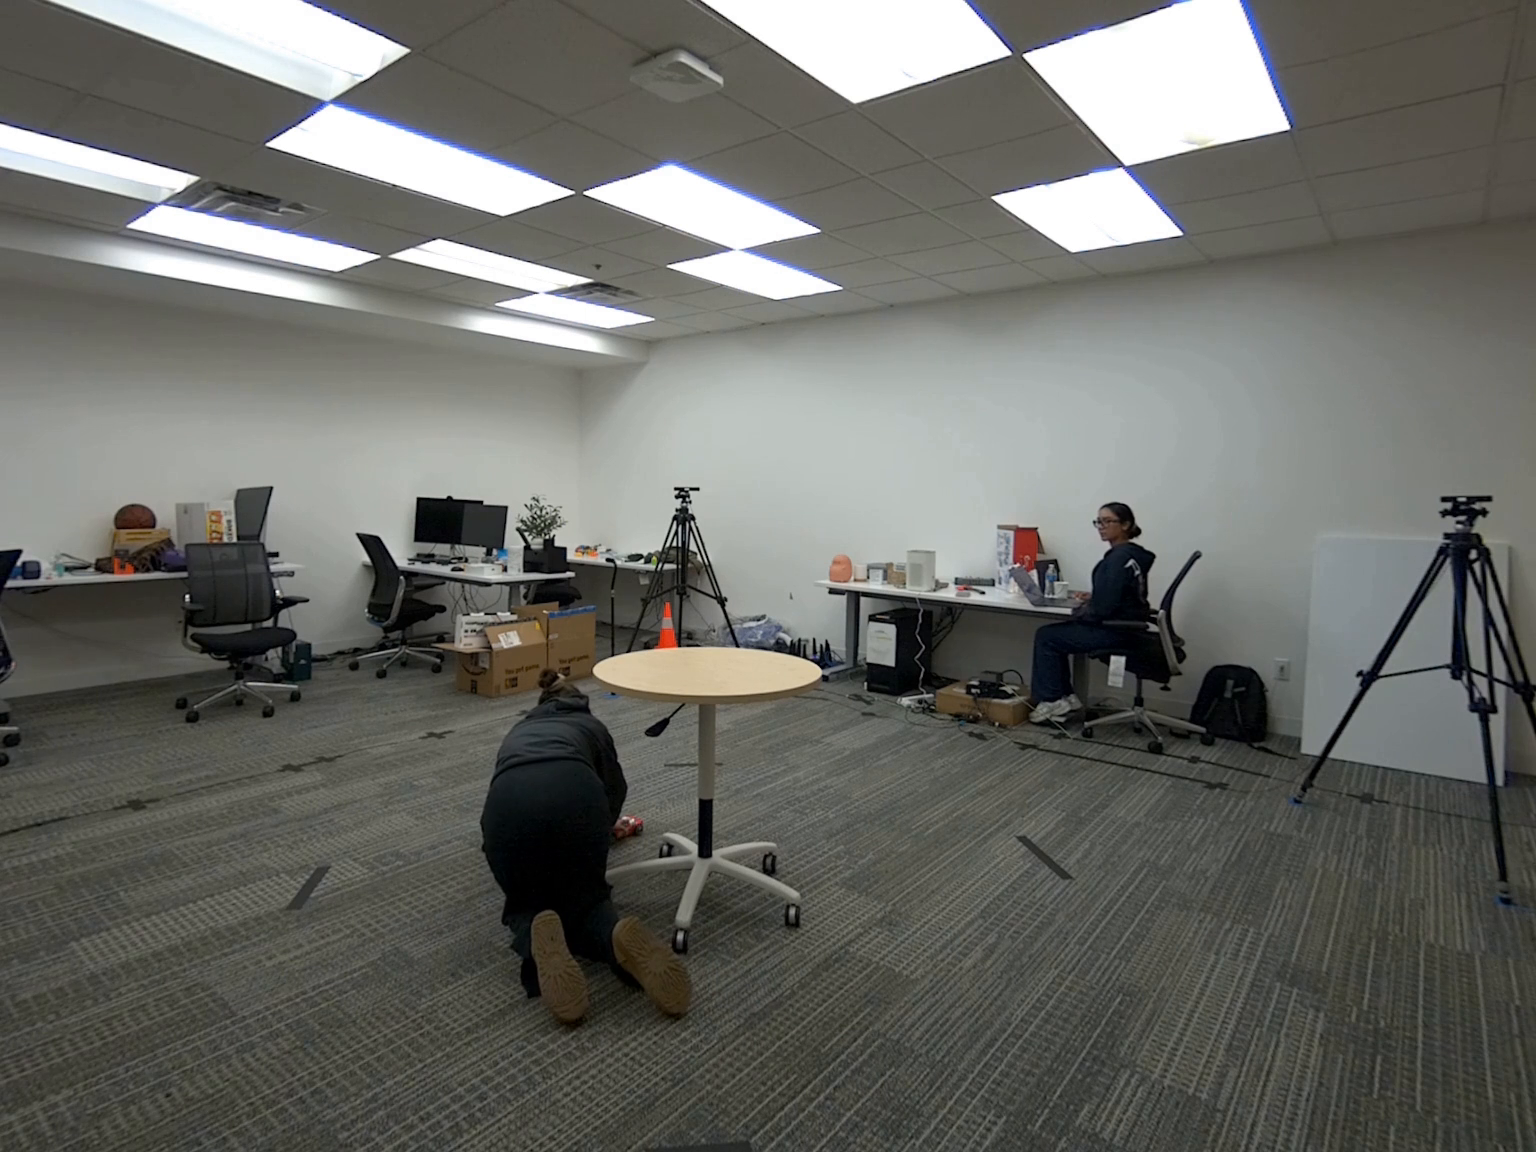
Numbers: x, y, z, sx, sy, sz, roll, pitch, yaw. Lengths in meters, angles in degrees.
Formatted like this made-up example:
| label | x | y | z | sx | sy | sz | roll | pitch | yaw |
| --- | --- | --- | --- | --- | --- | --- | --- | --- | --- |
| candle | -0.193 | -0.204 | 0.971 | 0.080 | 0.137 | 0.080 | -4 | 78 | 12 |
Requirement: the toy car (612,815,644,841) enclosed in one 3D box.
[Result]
| label | x | y | z | sx | sy | sz | roll | pitch | yaw |
| --- | --- | --- | --- | --- | --- | --- | --- | --- | --- |
| toy car | -0.619 | 1.002 | 3.377 | 0.135 | 0.083 | 0.245 | 6 | -4 | 42 |
